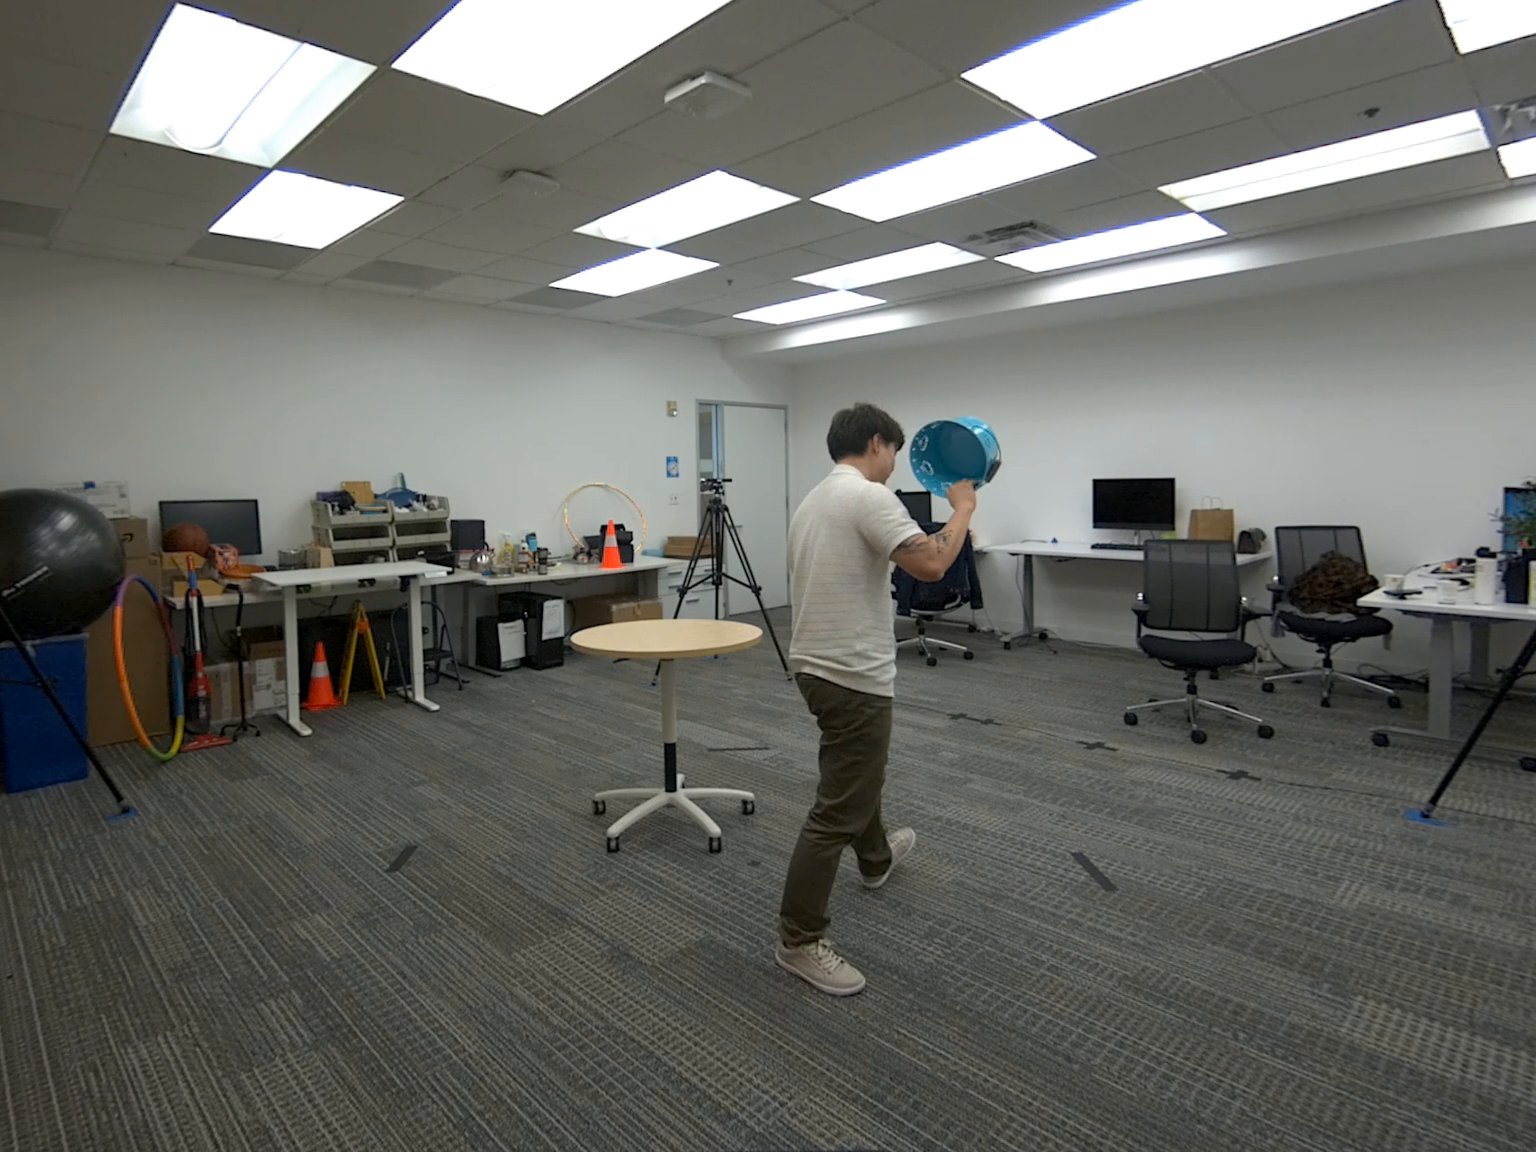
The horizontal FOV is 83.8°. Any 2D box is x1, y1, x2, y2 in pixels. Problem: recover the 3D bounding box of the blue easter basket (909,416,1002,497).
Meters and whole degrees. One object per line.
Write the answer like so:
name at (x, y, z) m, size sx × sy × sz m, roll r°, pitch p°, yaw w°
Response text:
blue easter basket at (0.556, -0.340, 2.482) m, size 0.251 × 0.239 × 0.154 m, roll 3°, pitch 21°, yaw 37°
